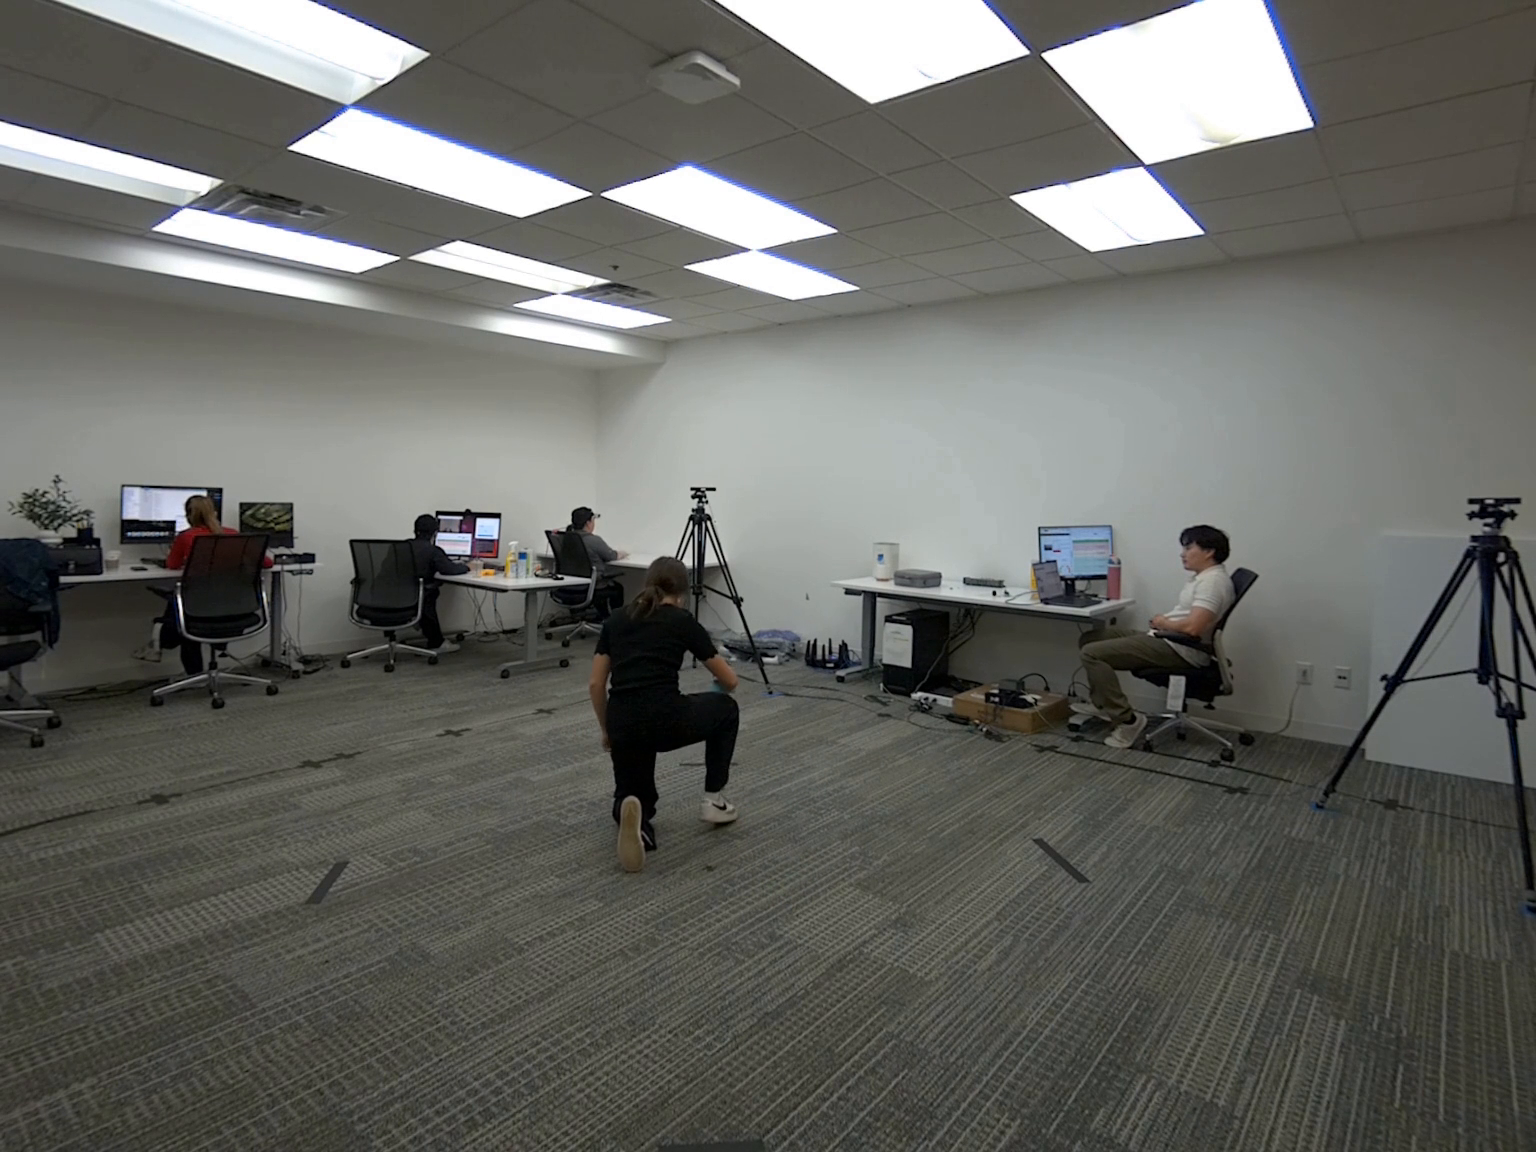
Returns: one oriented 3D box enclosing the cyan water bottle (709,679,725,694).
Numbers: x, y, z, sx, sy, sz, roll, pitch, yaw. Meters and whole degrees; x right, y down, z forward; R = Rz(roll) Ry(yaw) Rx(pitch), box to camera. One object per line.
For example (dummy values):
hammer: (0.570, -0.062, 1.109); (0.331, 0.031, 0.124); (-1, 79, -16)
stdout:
cyan water bottle: (-0.228, 0.516, 3.809); (0.092, 0.285, 0.092); (1, -7, -2)
